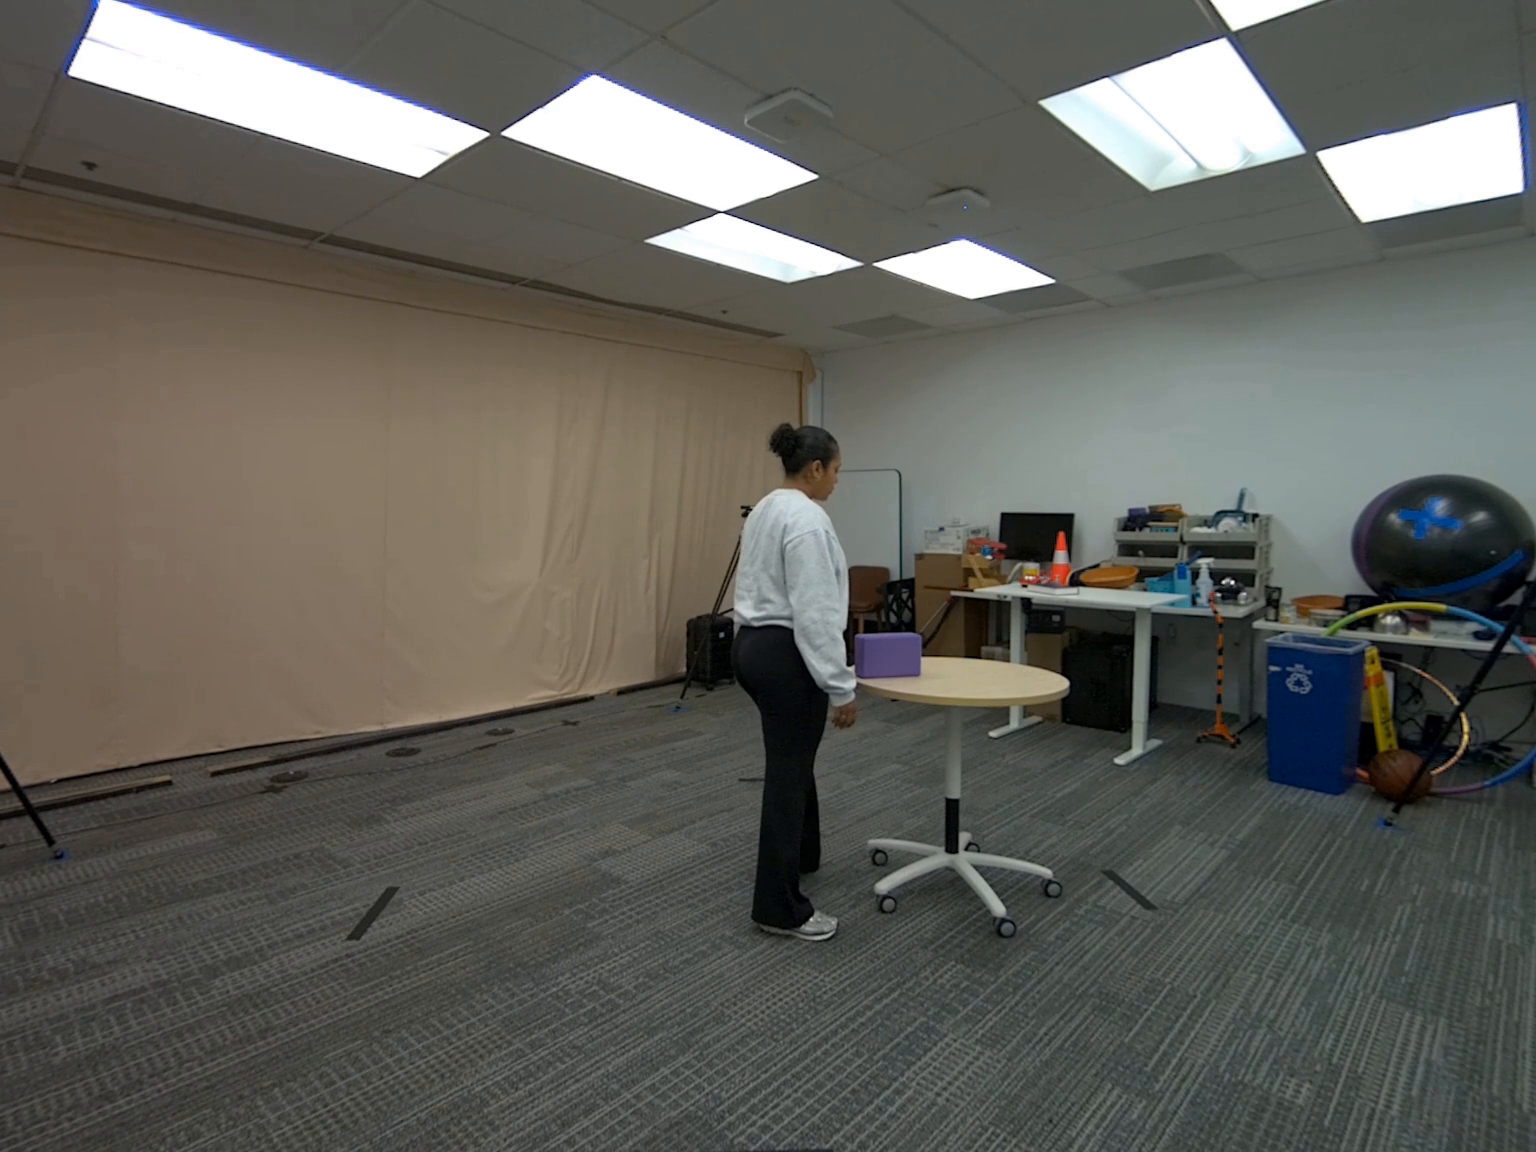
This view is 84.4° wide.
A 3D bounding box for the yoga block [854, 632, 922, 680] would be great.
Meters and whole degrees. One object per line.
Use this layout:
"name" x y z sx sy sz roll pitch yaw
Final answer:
"yoga block" 0.436 0.282 2.989 0.226 0.148 0.078 0 4 -13
